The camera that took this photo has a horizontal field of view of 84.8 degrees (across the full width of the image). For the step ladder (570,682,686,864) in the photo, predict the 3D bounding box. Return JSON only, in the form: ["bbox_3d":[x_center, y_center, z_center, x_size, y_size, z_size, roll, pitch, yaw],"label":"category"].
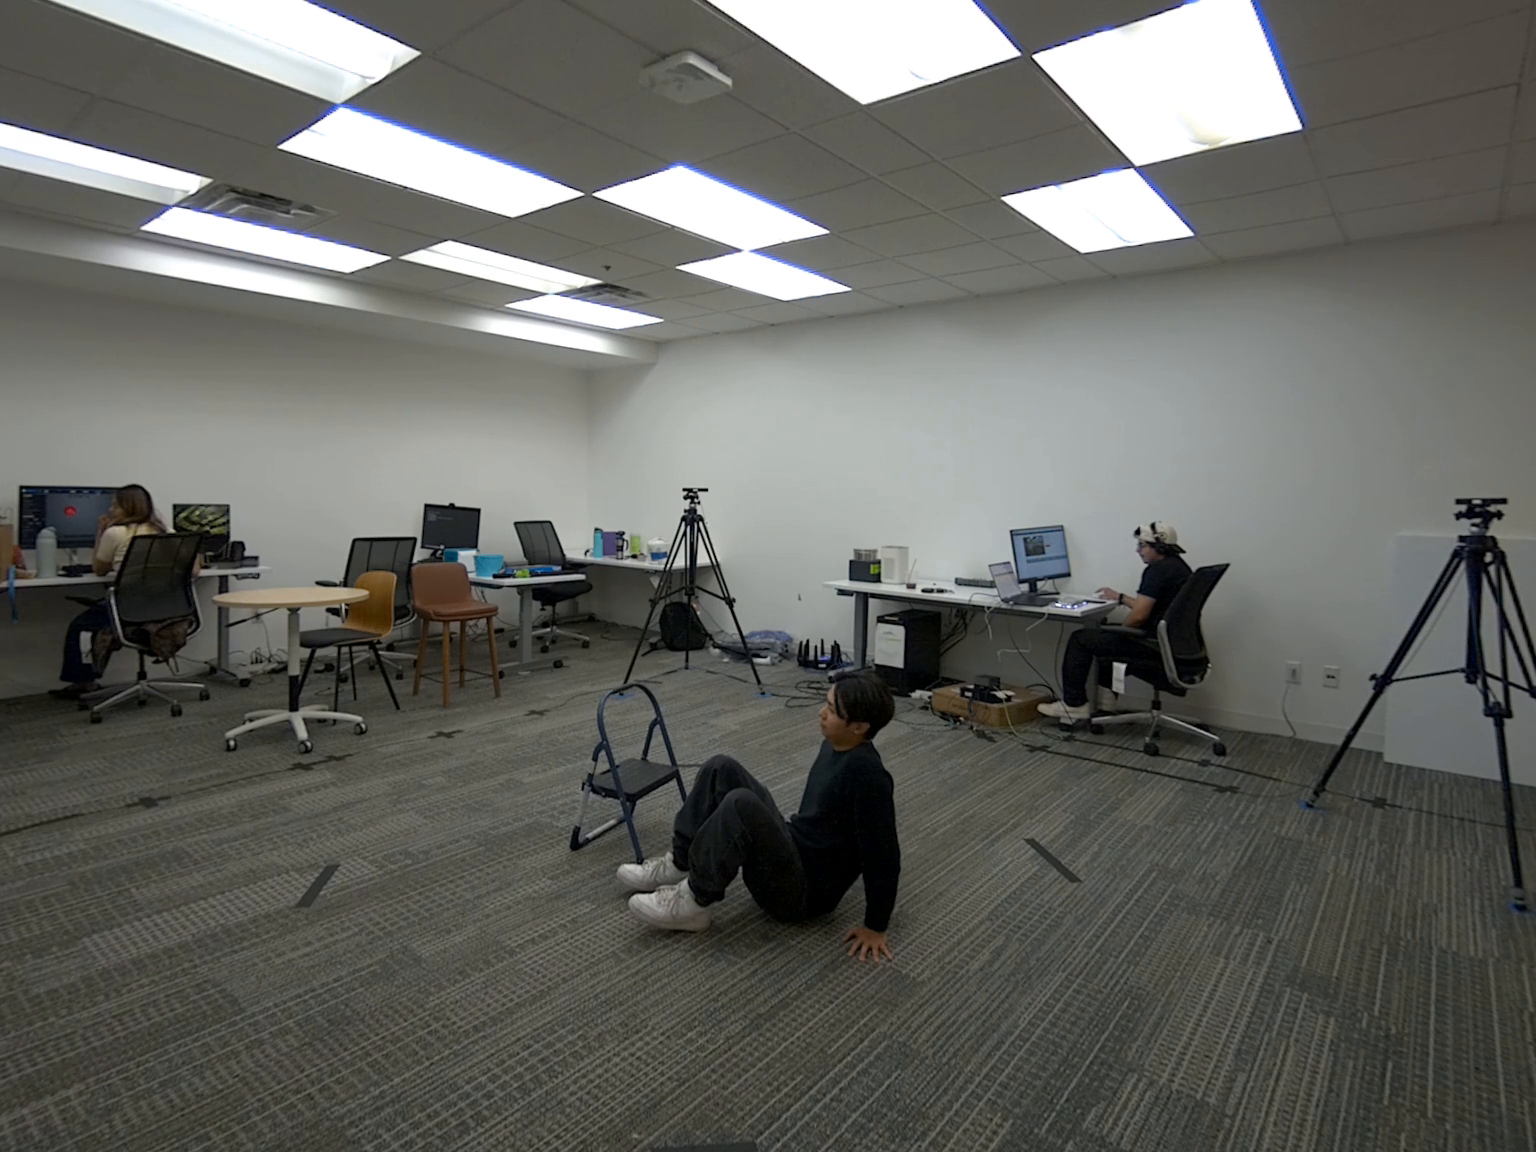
[{"bbox_3d":[-0.525,0.737,3.343,0.358,0.604,0.421,3,4,25],"label":"step ladder"}]
